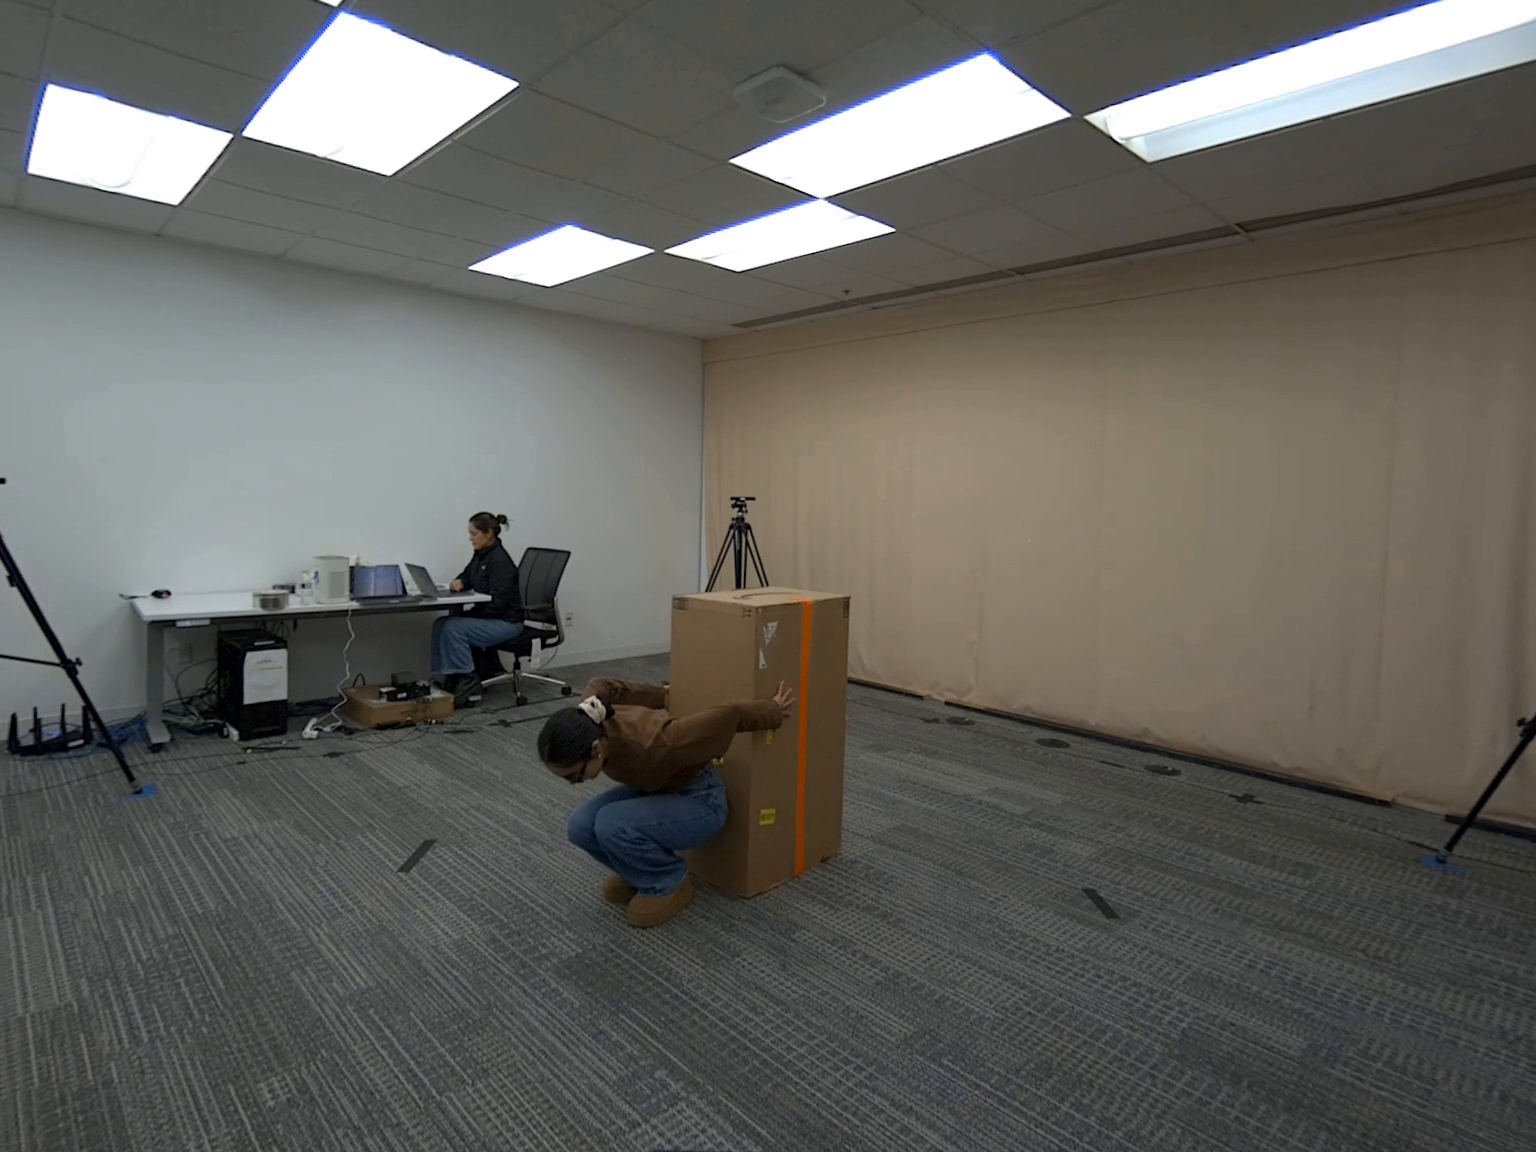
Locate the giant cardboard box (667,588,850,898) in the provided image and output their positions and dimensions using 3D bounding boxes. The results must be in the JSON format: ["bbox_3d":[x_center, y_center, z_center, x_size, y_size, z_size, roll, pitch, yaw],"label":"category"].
[{"bbox_3d":[-0.038,0.590,3.246,0.458,1.025,0.571,3,4,40],"label":"giant cardboard box"}]
